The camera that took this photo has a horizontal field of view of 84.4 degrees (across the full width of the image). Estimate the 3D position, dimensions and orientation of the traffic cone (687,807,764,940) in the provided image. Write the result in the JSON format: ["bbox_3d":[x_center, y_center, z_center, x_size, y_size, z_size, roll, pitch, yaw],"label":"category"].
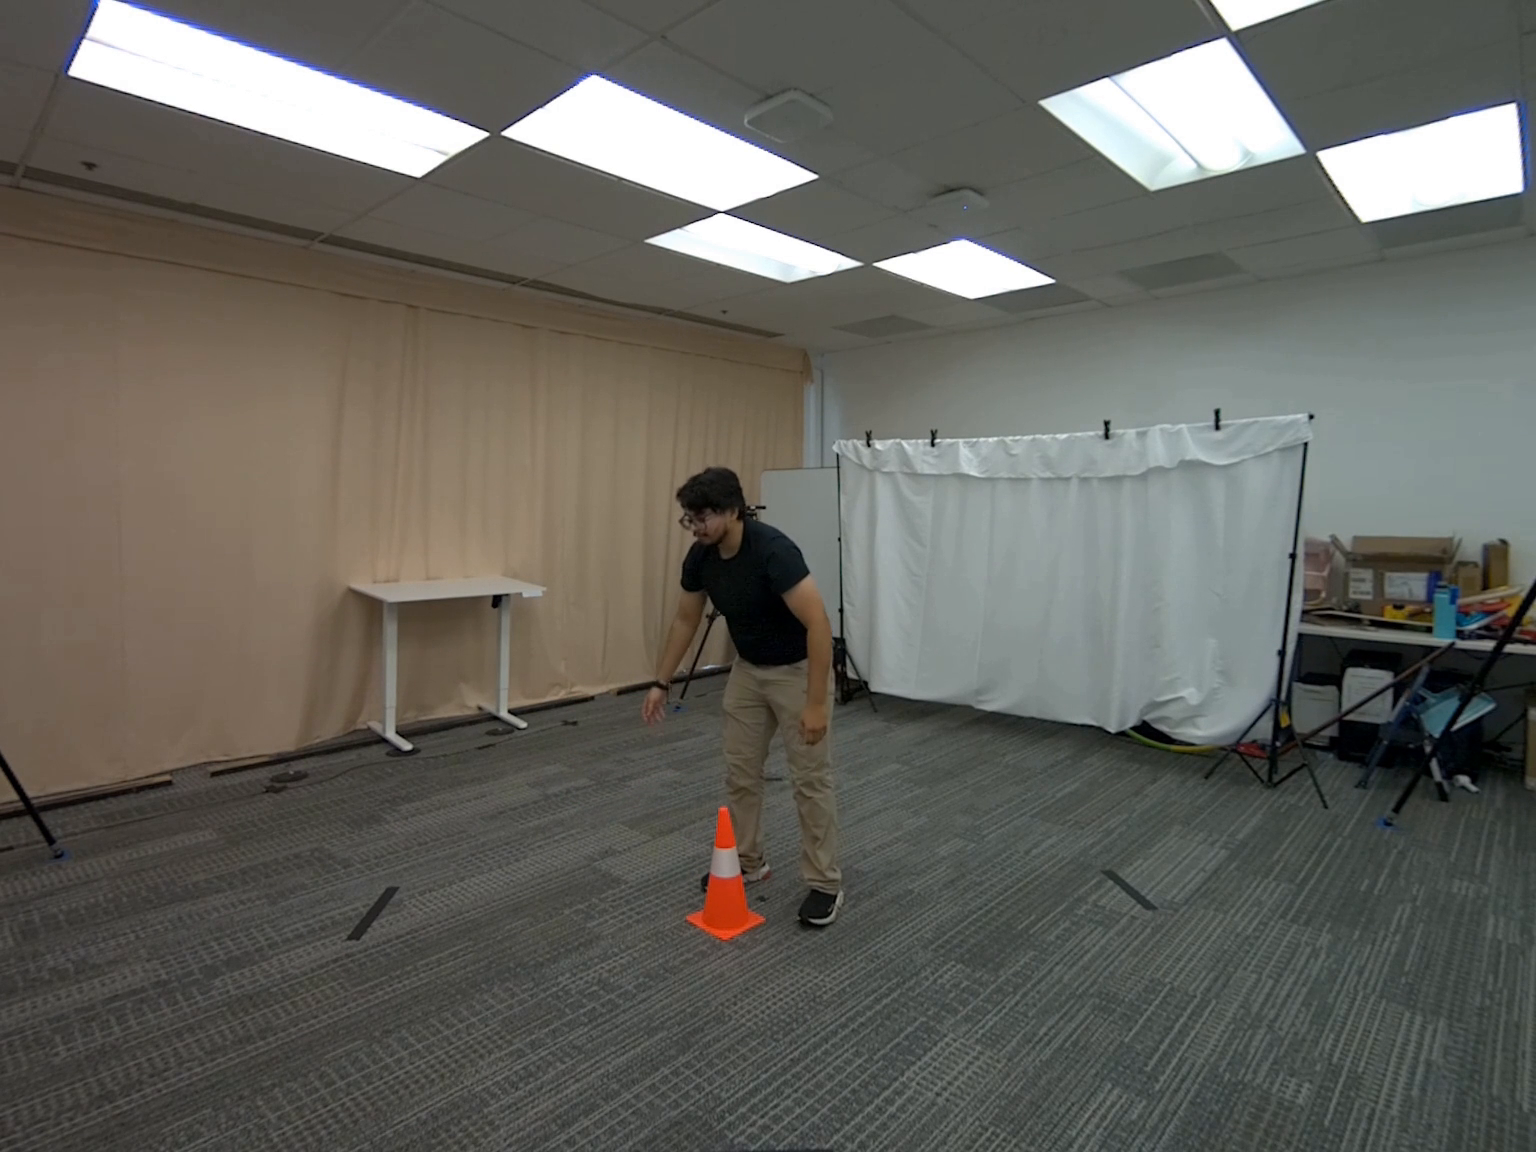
[{"bbox_3d":[-0.139,0.972,2.822,0.197,0.383,0.211,-3,5,-37],"label":"traffic cone"}]
